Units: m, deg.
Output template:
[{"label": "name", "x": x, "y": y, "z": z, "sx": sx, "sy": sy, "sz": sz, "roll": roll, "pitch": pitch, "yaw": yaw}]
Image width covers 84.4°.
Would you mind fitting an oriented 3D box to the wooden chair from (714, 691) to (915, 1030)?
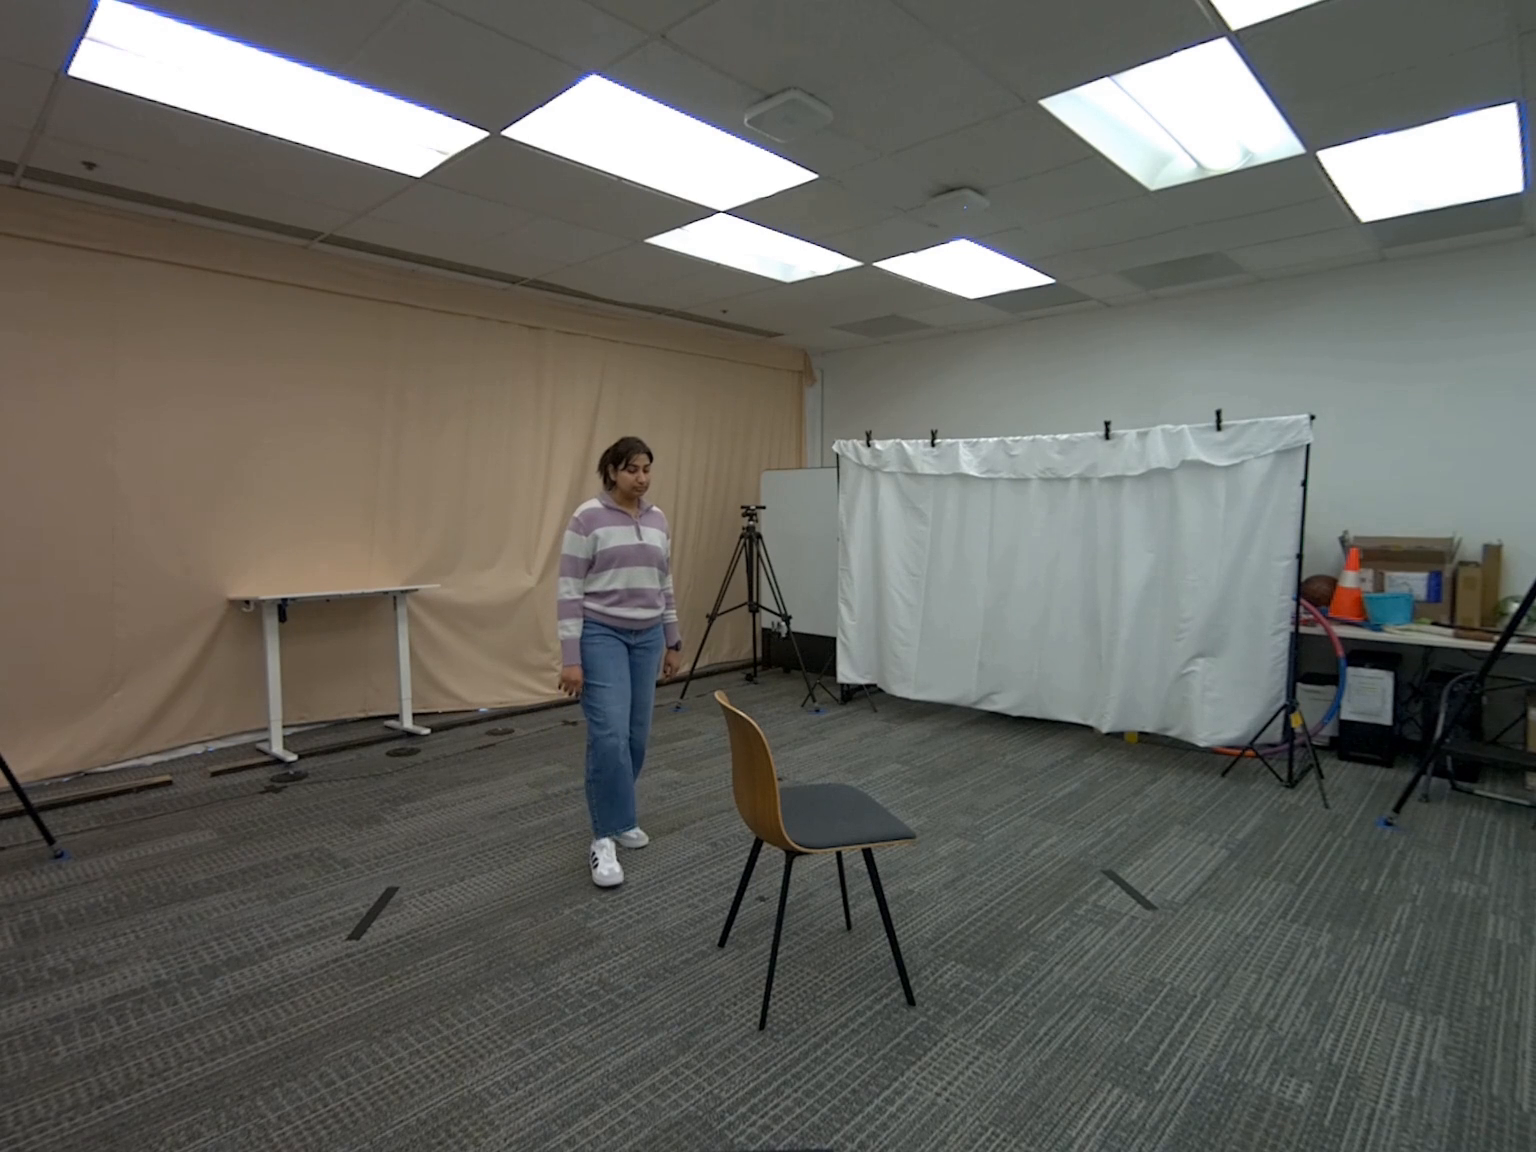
[{"label": "wooden chair", "x": 0.139, "y": 0.760, "z": 2.480, "sx": 0.515, "sy": 0.875, "sz": 0.487, "roll": -5, "pitch": 4, "yaw": -17}]
